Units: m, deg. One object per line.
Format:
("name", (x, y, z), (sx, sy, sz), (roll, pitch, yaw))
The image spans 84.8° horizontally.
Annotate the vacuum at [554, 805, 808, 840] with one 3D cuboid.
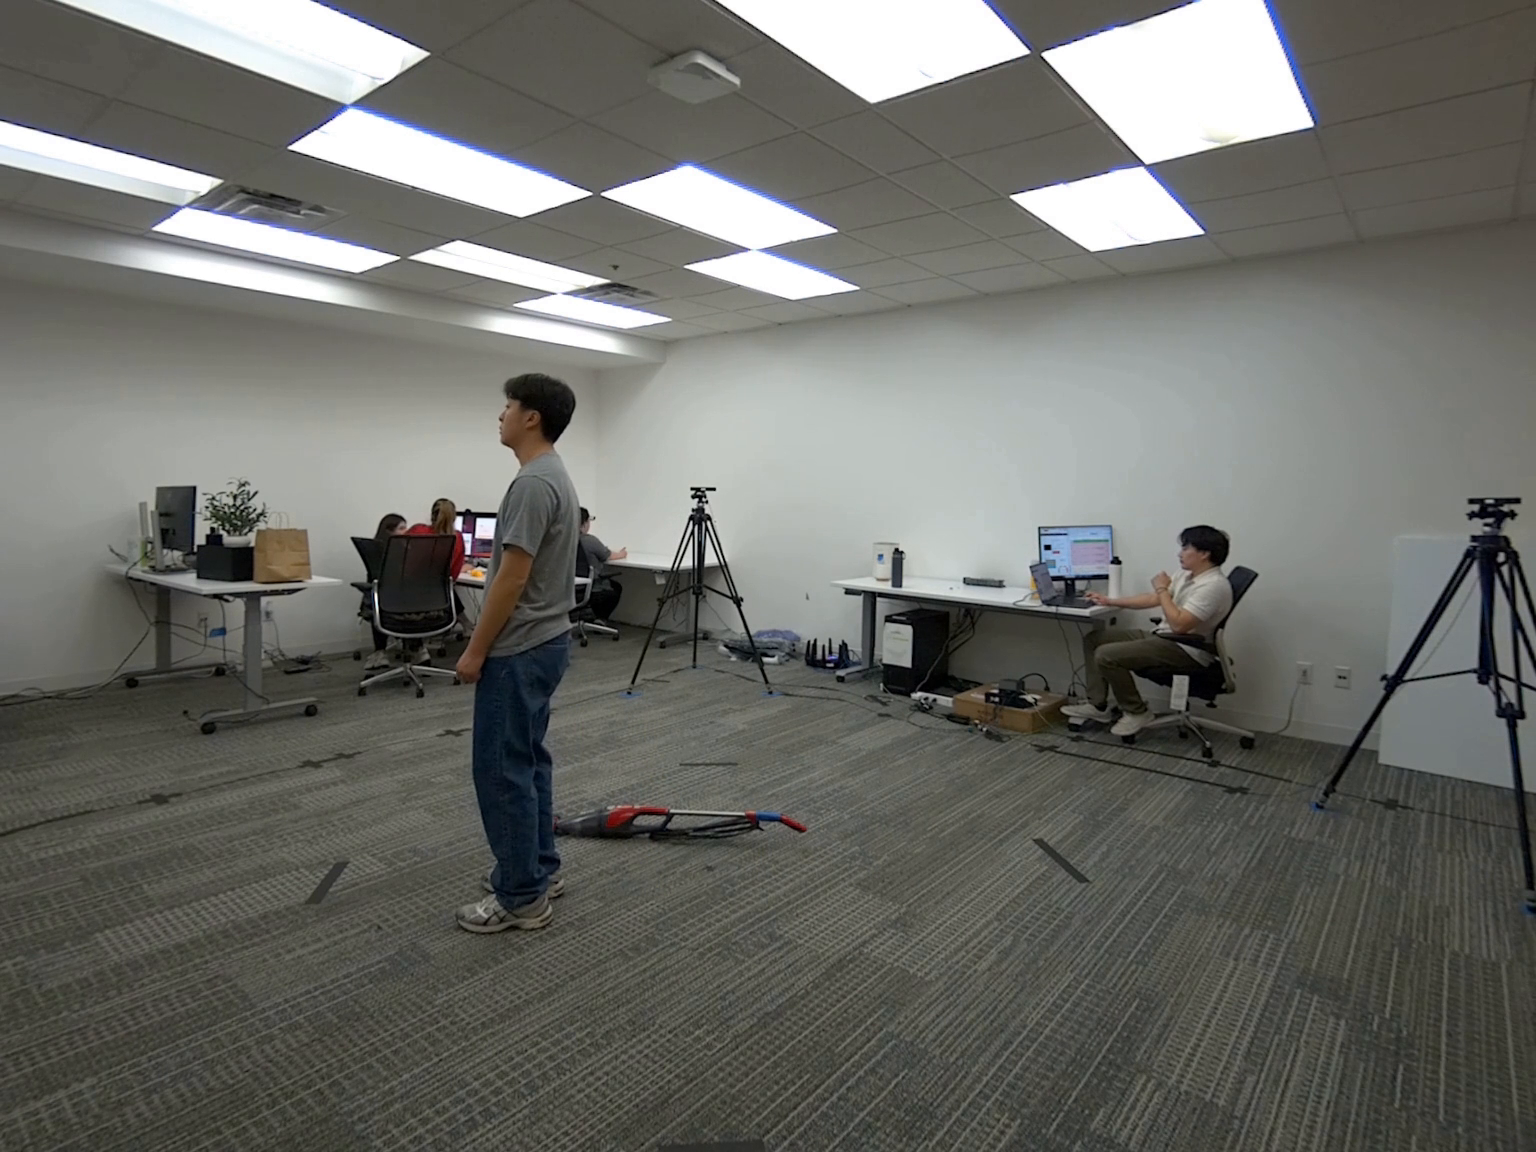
("vacuum", (-0.380, 0.978, 3.356), (1.055, 0.144, 0.251), (0, -1, 5))
